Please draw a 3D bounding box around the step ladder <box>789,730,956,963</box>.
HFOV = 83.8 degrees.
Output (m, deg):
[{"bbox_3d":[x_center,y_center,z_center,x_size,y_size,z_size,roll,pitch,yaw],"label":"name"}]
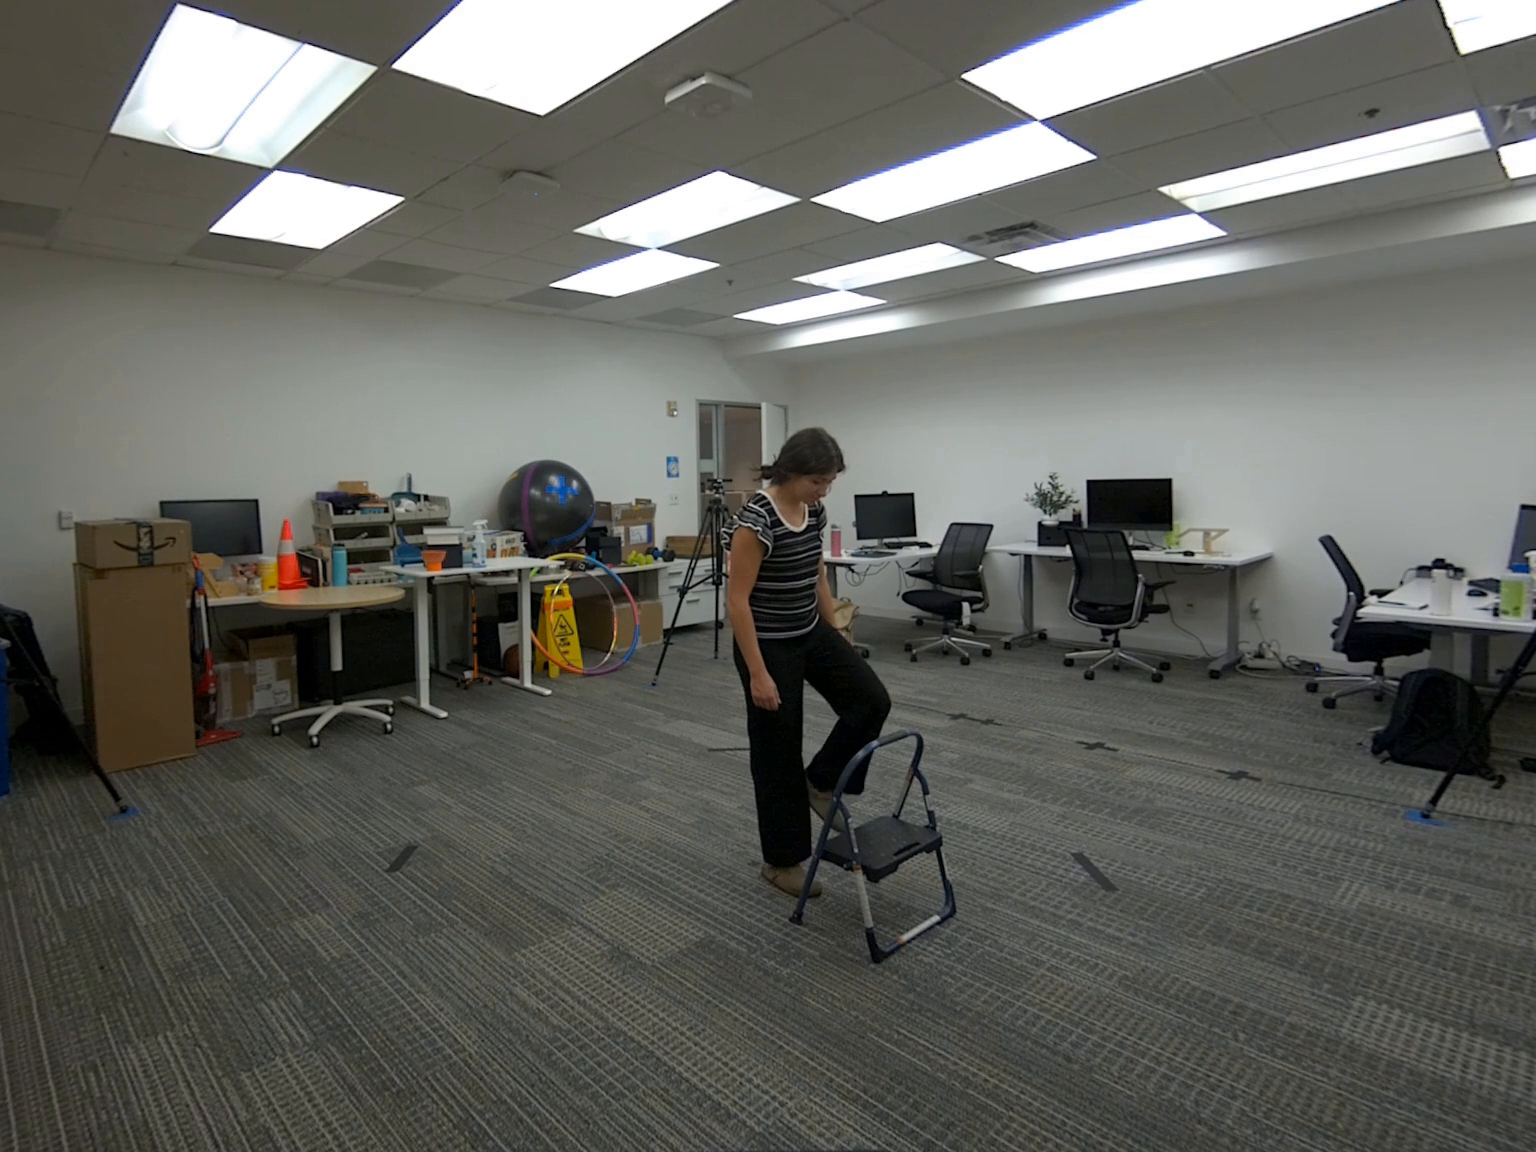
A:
[{"bbox_3d":[0.334,0.785,2.692,0.419,0.604,0.360,-5,6,-45],"label":"step ladder"}]
